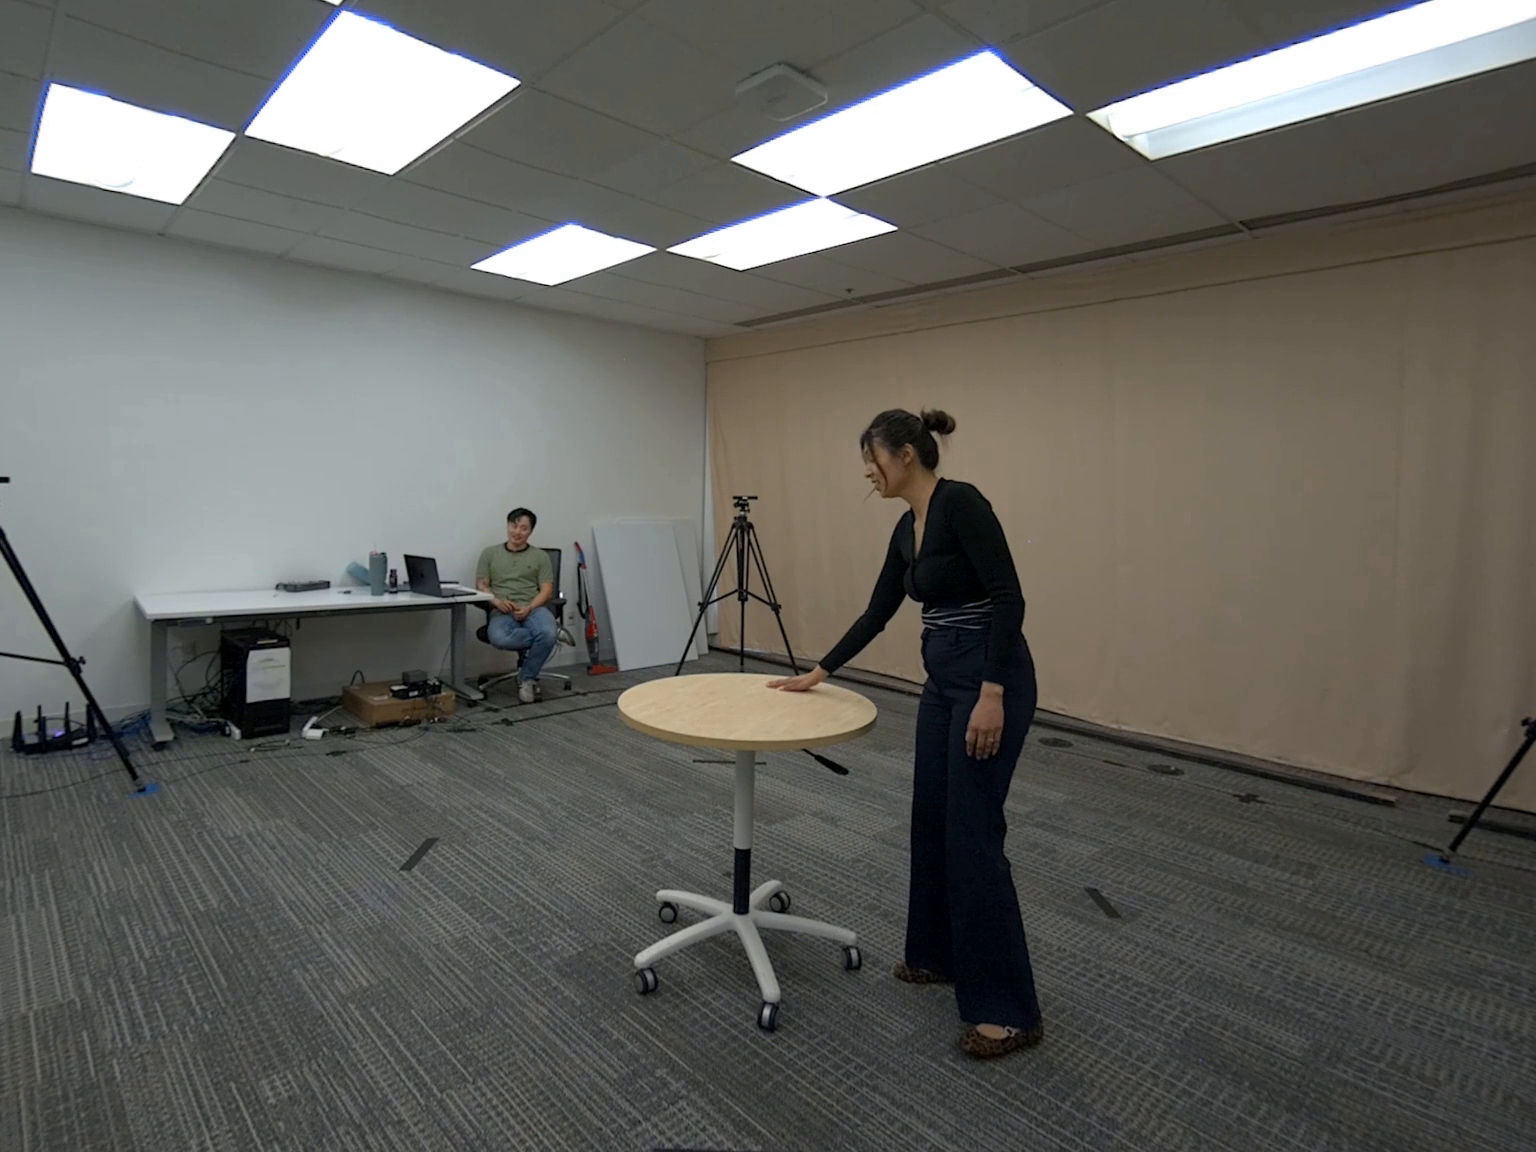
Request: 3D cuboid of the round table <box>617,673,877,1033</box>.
[{"bbox_3d":[-0.082,0.771,2.530,0.763,0.791,0.767,2,5,-2],"label":"round table"}]
